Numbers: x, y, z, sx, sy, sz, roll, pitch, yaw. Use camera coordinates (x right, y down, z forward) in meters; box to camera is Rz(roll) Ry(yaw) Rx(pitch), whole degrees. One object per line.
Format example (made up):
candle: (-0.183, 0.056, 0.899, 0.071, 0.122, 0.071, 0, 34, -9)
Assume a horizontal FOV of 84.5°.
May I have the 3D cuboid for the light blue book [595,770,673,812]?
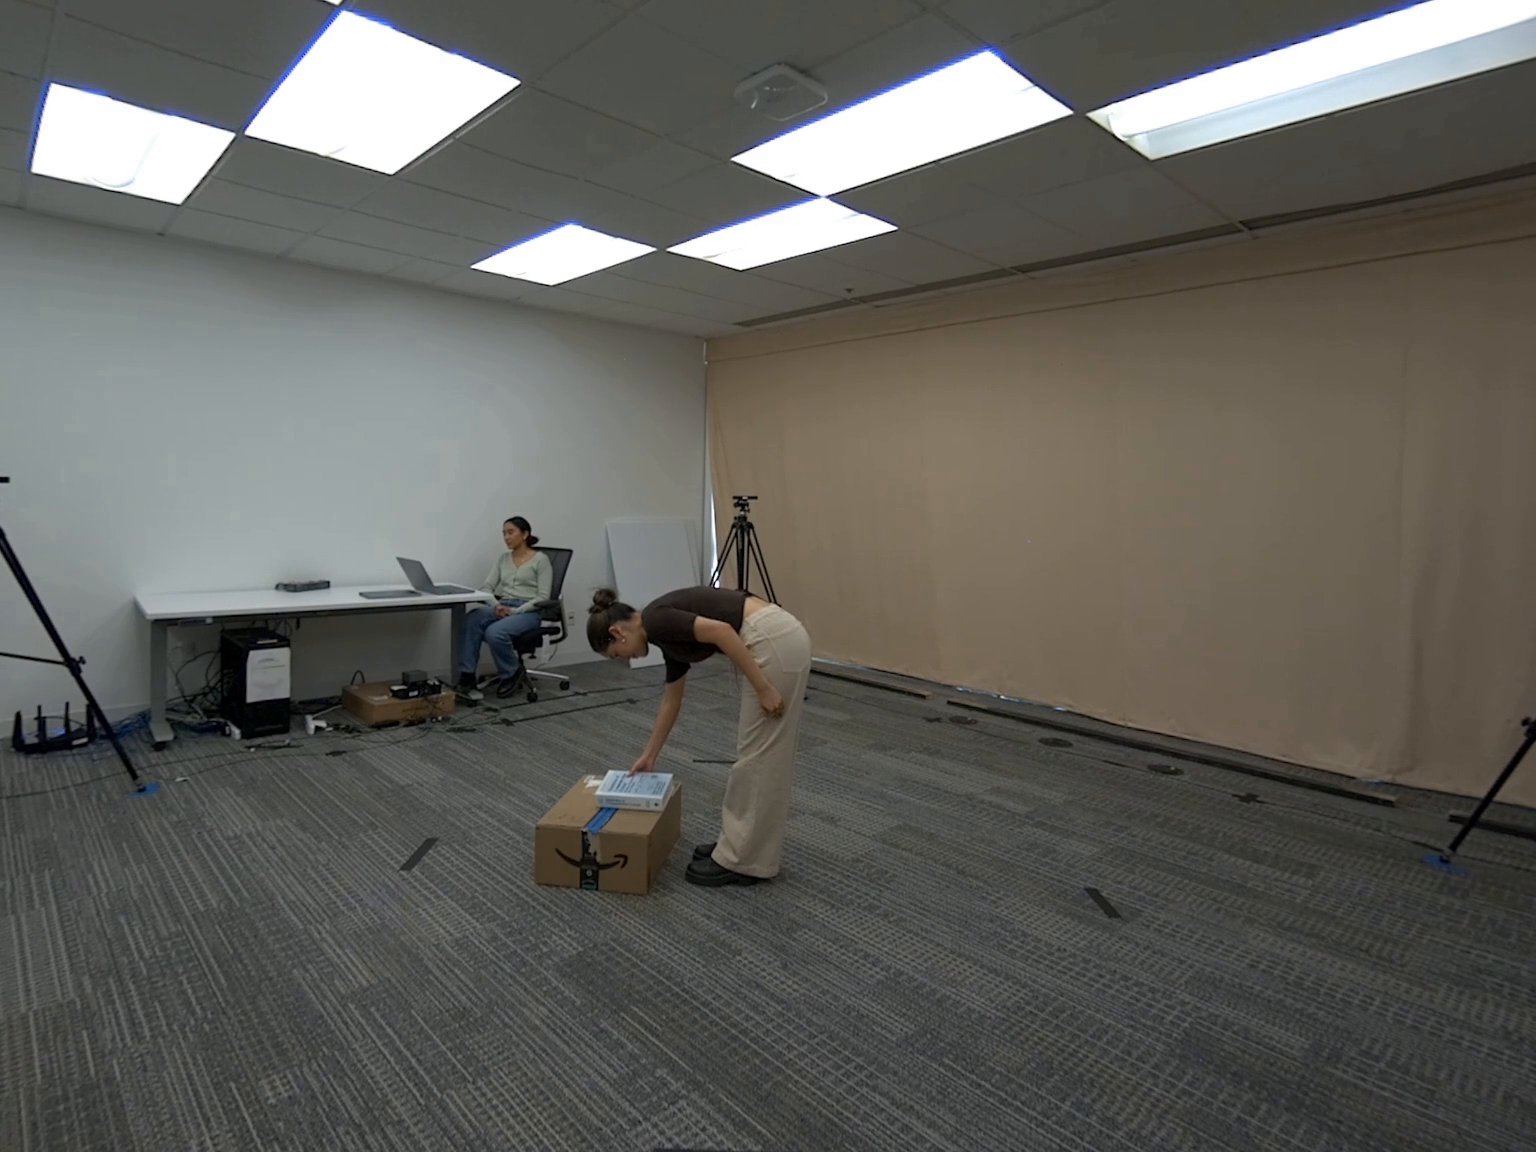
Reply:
light blue book: (-0.515, 0.826, 3.230, 0.263, 0.058, 0.192, 1, 13, 8)
